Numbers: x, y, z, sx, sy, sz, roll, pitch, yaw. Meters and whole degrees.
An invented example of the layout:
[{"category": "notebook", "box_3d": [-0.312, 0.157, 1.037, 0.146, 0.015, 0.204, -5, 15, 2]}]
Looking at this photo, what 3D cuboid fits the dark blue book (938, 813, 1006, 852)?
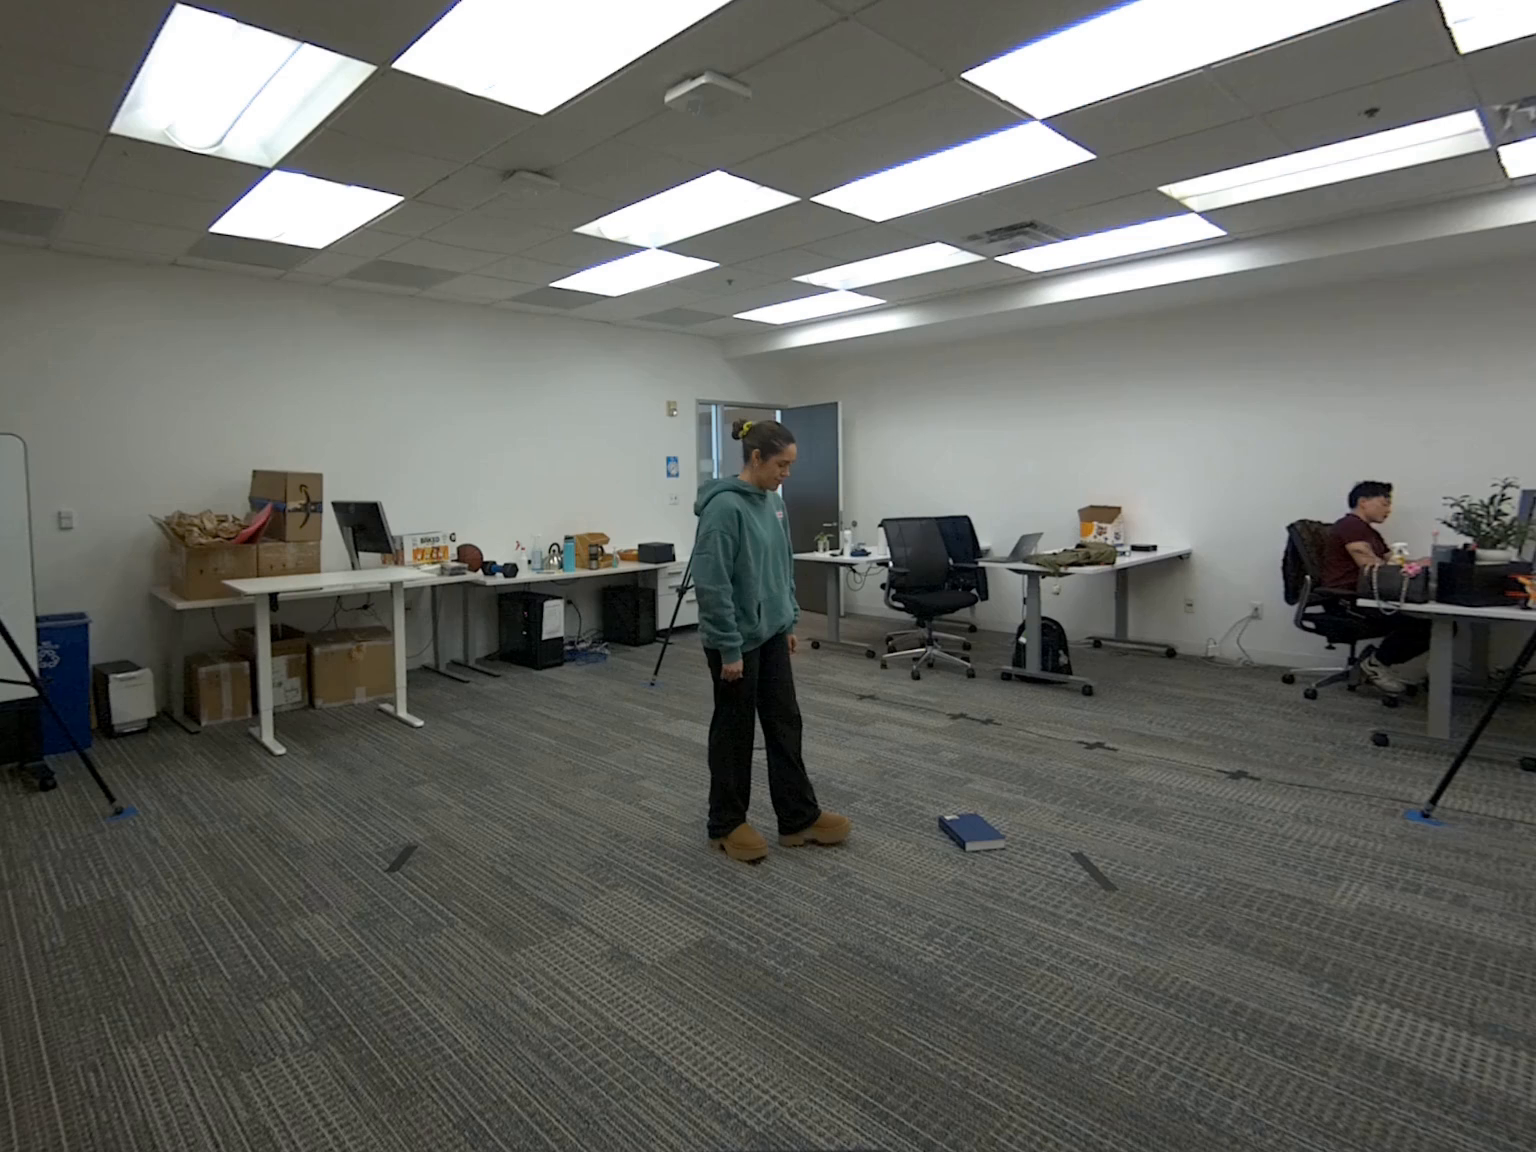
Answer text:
[{"category": "dark blue book", "box_3d": [0.768, 0.973, 3.291, 0.162, 0.045, 0.248, -2, 6, -11]}]
